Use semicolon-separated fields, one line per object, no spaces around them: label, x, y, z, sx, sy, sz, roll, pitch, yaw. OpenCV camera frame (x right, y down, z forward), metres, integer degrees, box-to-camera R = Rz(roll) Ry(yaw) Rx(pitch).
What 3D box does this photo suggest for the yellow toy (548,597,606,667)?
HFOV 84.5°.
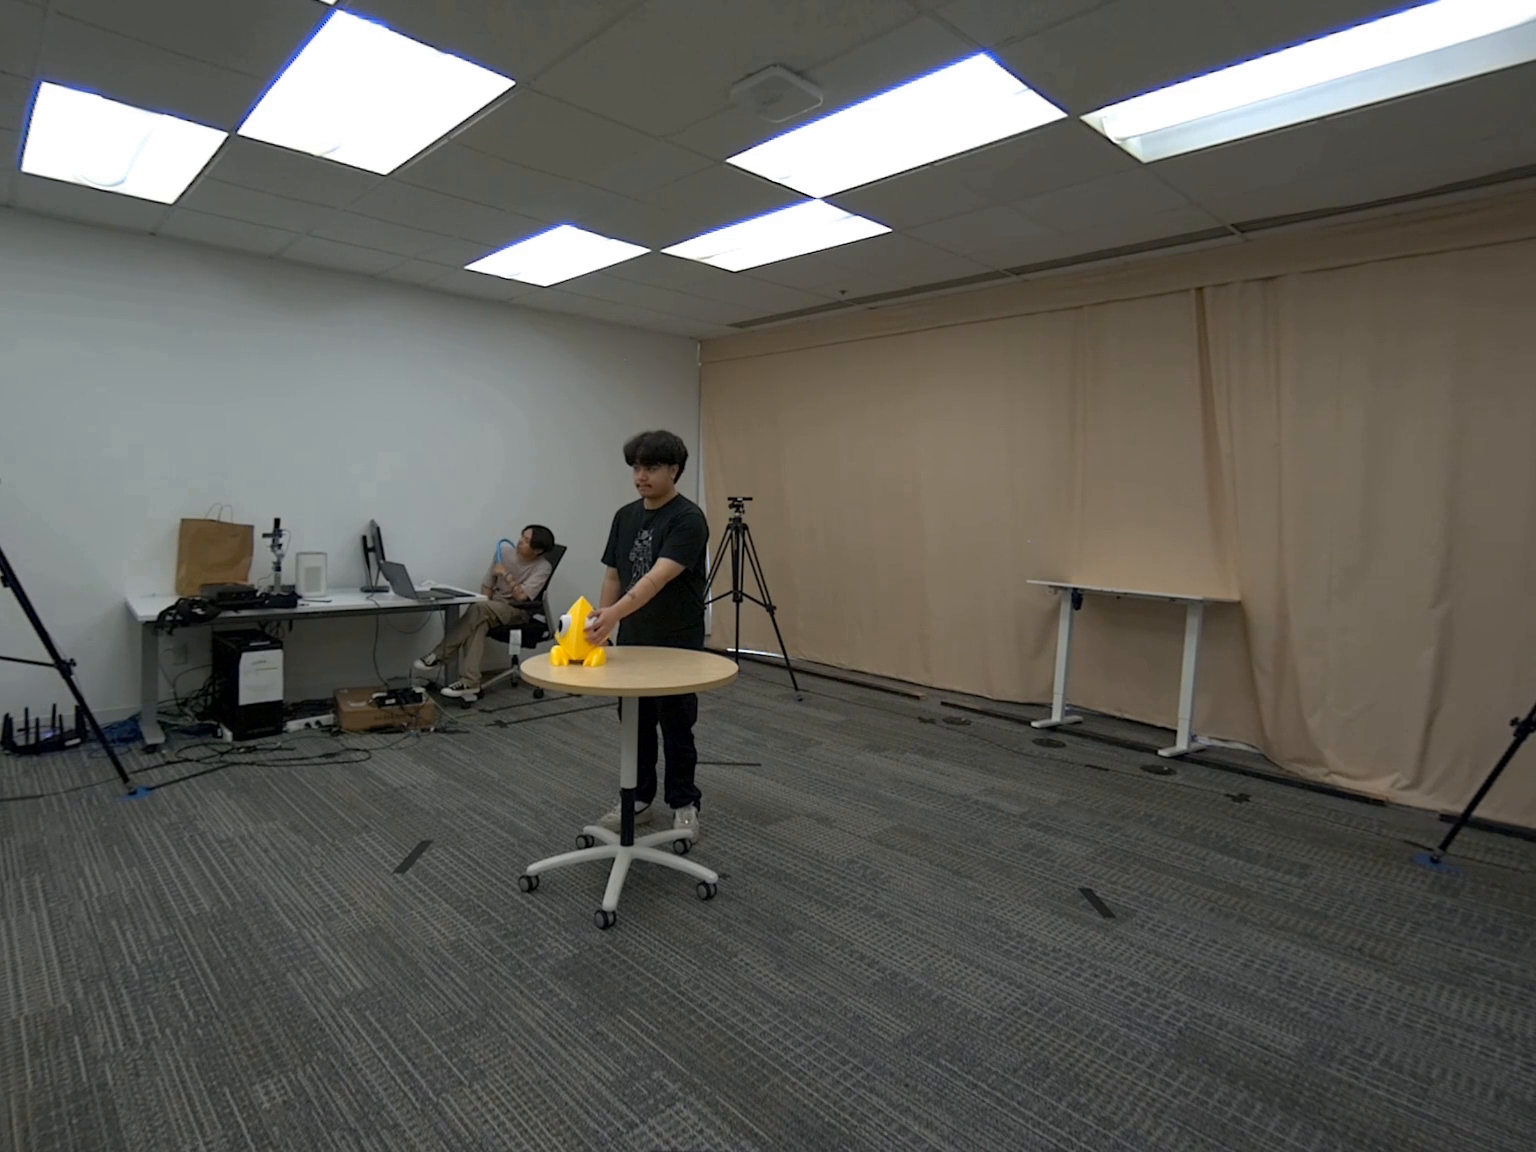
yellow toy;-0.696;0.193;3.026;0.204;0.230;0.194;4;4;-3
